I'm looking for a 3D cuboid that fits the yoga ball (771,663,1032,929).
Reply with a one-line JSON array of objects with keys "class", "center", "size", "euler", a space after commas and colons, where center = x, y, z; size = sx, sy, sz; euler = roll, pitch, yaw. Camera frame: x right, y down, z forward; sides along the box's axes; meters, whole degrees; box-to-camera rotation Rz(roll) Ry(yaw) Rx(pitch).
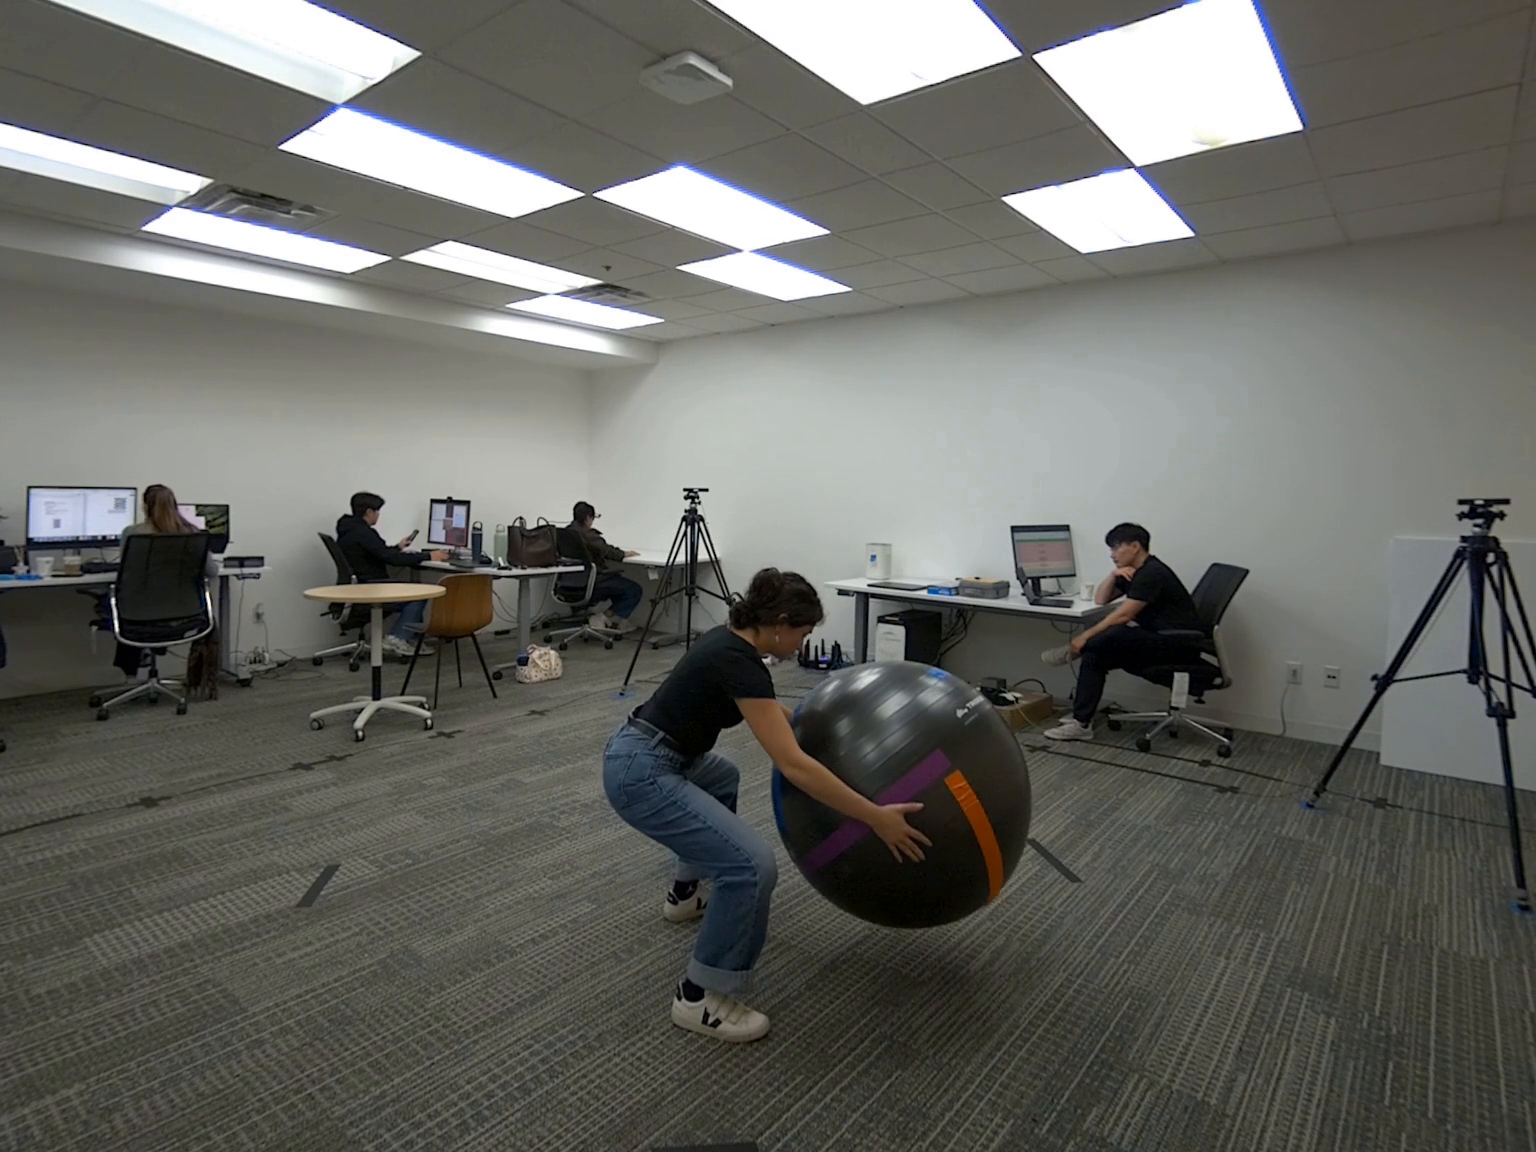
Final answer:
[{"class": "yoga ball", "center": [0.382, 0.636, 2.530], "size": [0.757, 0.756, 0.762], "euler": [1, 4, -2]}]
